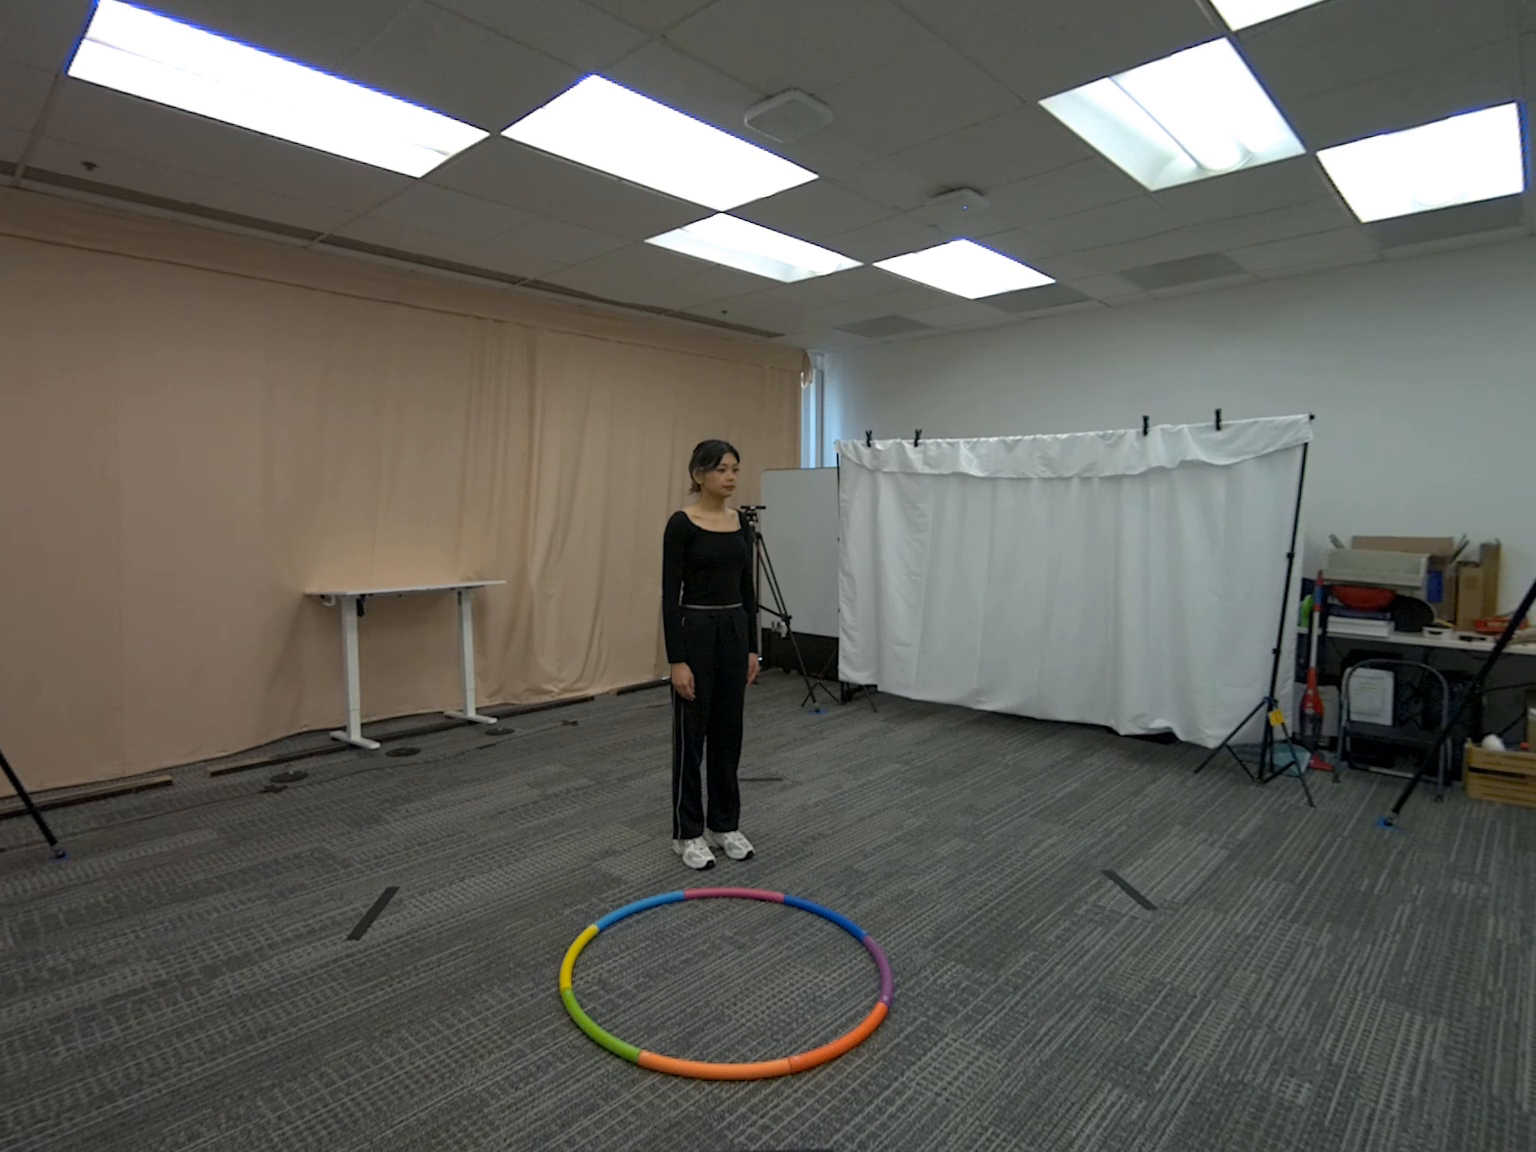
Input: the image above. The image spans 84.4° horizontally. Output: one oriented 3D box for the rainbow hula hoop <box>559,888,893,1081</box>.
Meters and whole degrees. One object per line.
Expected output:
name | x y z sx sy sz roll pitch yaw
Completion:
rainbow hula hoop | -0.123 1.153 2.527 0.978 0.035 0.982 0 4 -2
